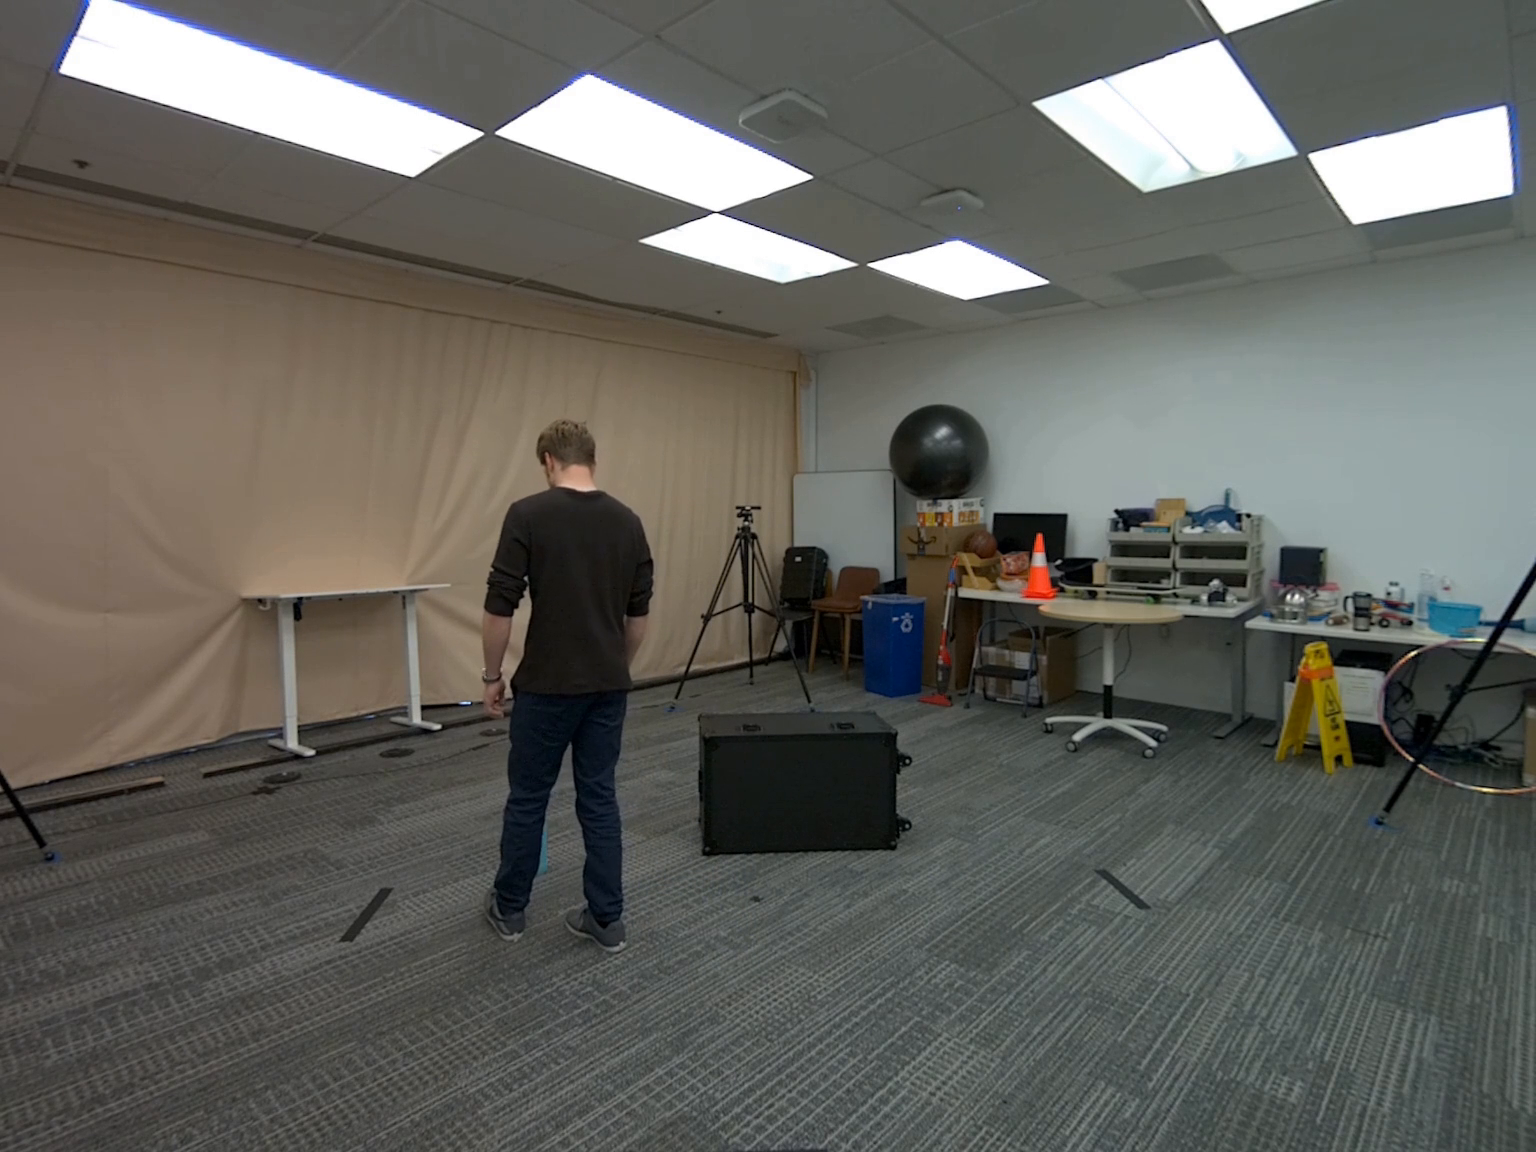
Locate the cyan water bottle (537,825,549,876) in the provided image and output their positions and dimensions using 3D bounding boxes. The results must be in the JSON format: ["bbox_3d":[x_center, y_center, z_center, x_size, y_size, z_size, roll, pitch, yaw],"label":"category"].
[{"bbox_3d":[-0.903,0.994,3.229,0.092,0.283,0.092,-1,1,-2],"label":"cyan water bottle"}]
